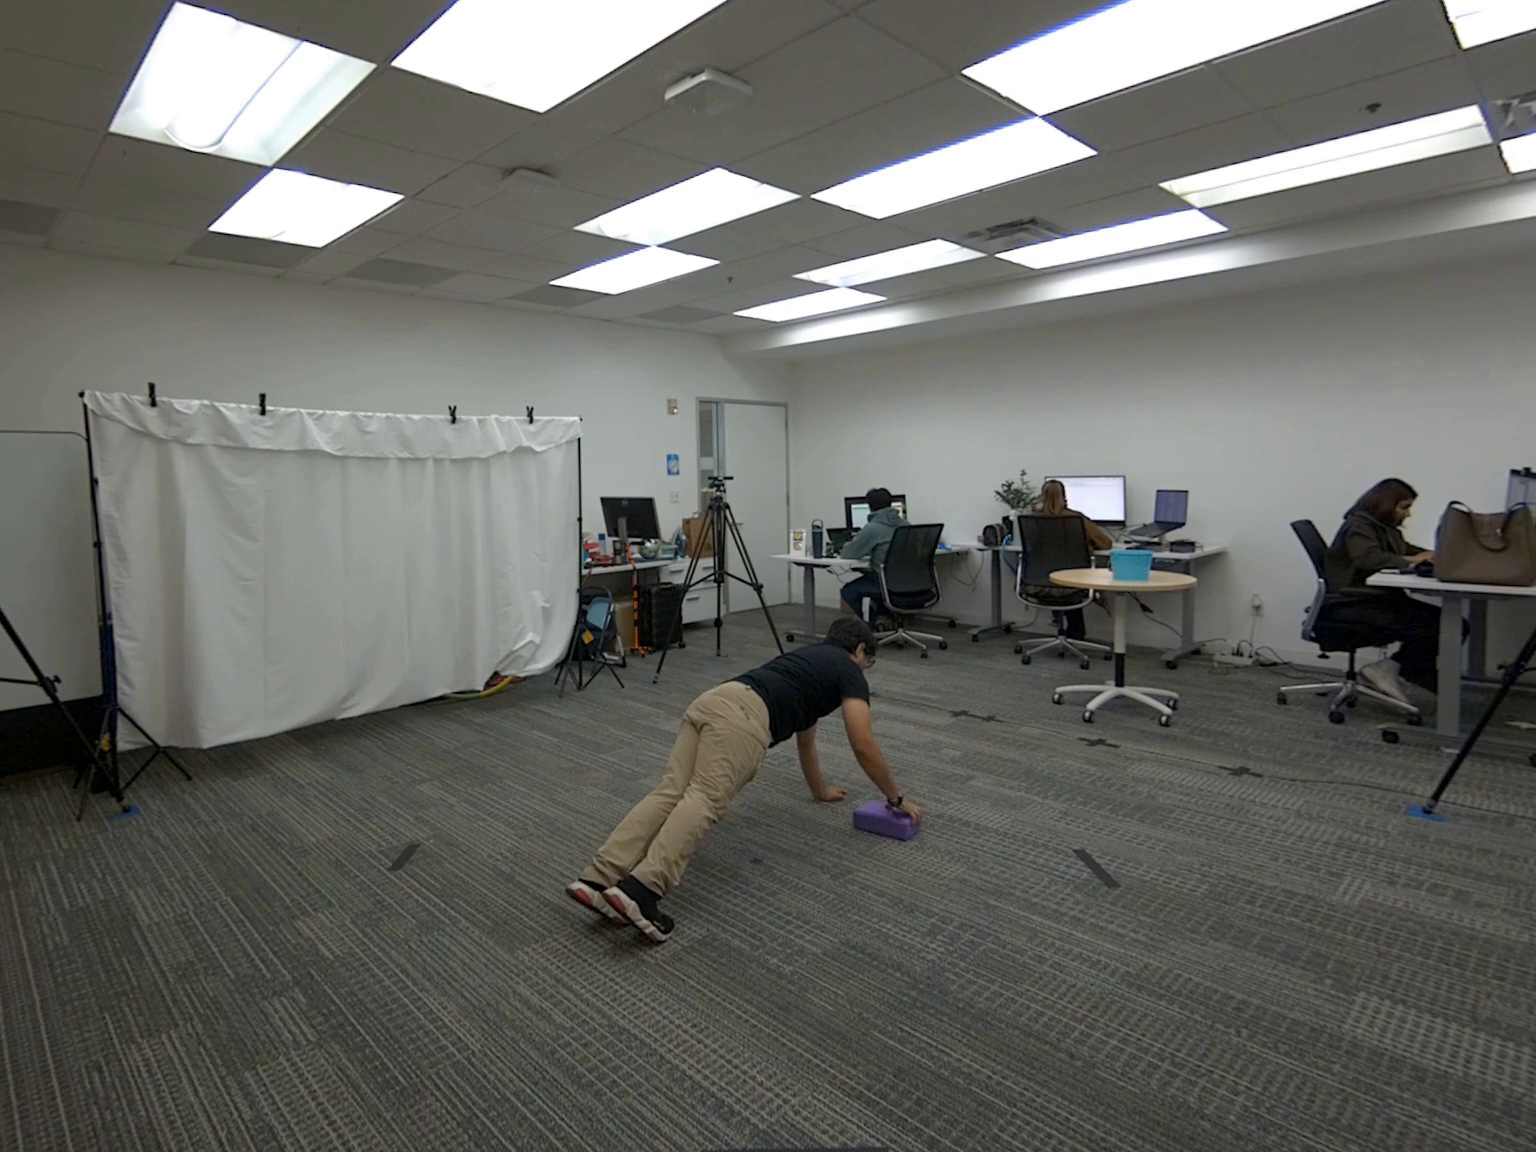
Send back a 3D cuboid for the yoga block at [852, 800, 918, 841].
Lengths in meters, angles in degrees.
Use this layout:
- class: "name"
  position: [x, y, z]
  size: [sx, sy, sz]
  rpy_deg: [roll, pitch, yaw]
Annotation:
- class: "yoga block"
  position: [0.469, 0.958, 3.368]
  size: [0.236, 0.076, 0.145]
  rpy_deg: [5, 7, 34]
